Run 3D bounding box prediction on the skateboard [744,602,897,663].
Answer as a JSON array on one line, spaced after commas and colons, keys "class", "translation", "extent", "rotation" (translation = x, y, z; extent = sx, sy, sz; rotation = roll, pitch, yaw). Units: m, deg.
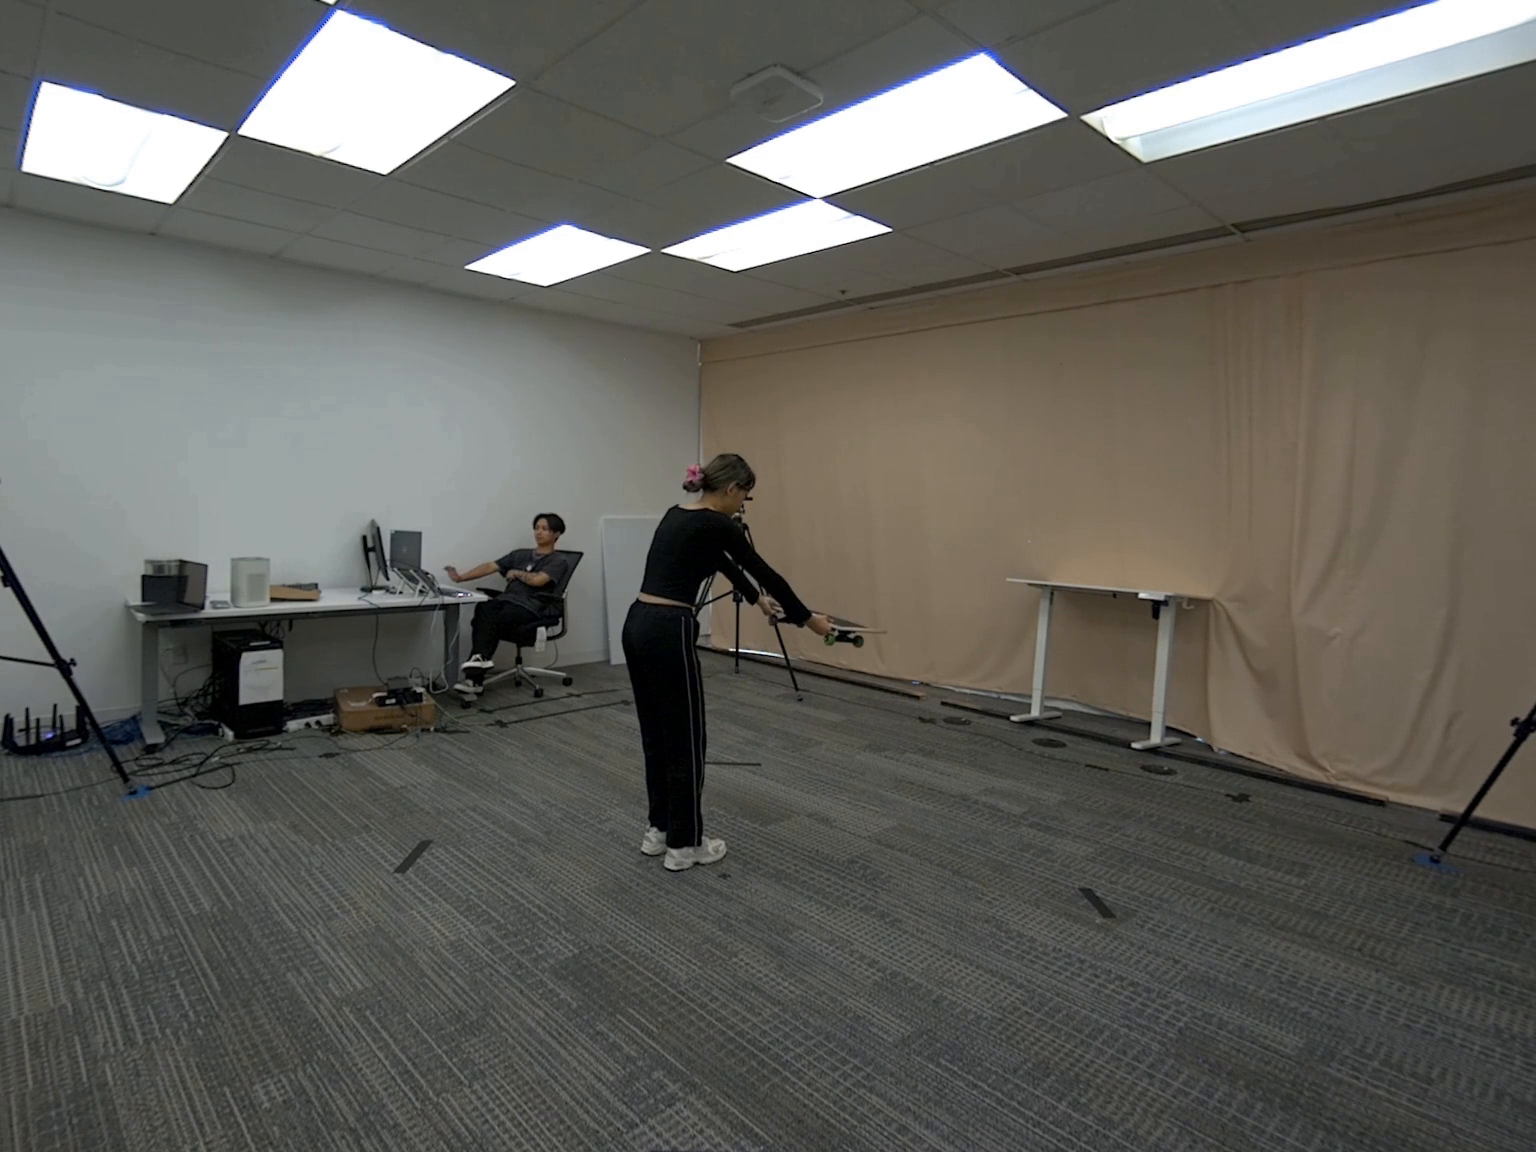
[{"class": "skateboard", "translation": [0.196, 0.210, 3.590], "extent": [0.189, 0.110, 0.806], "rotation": [9, 3, -34]}]
